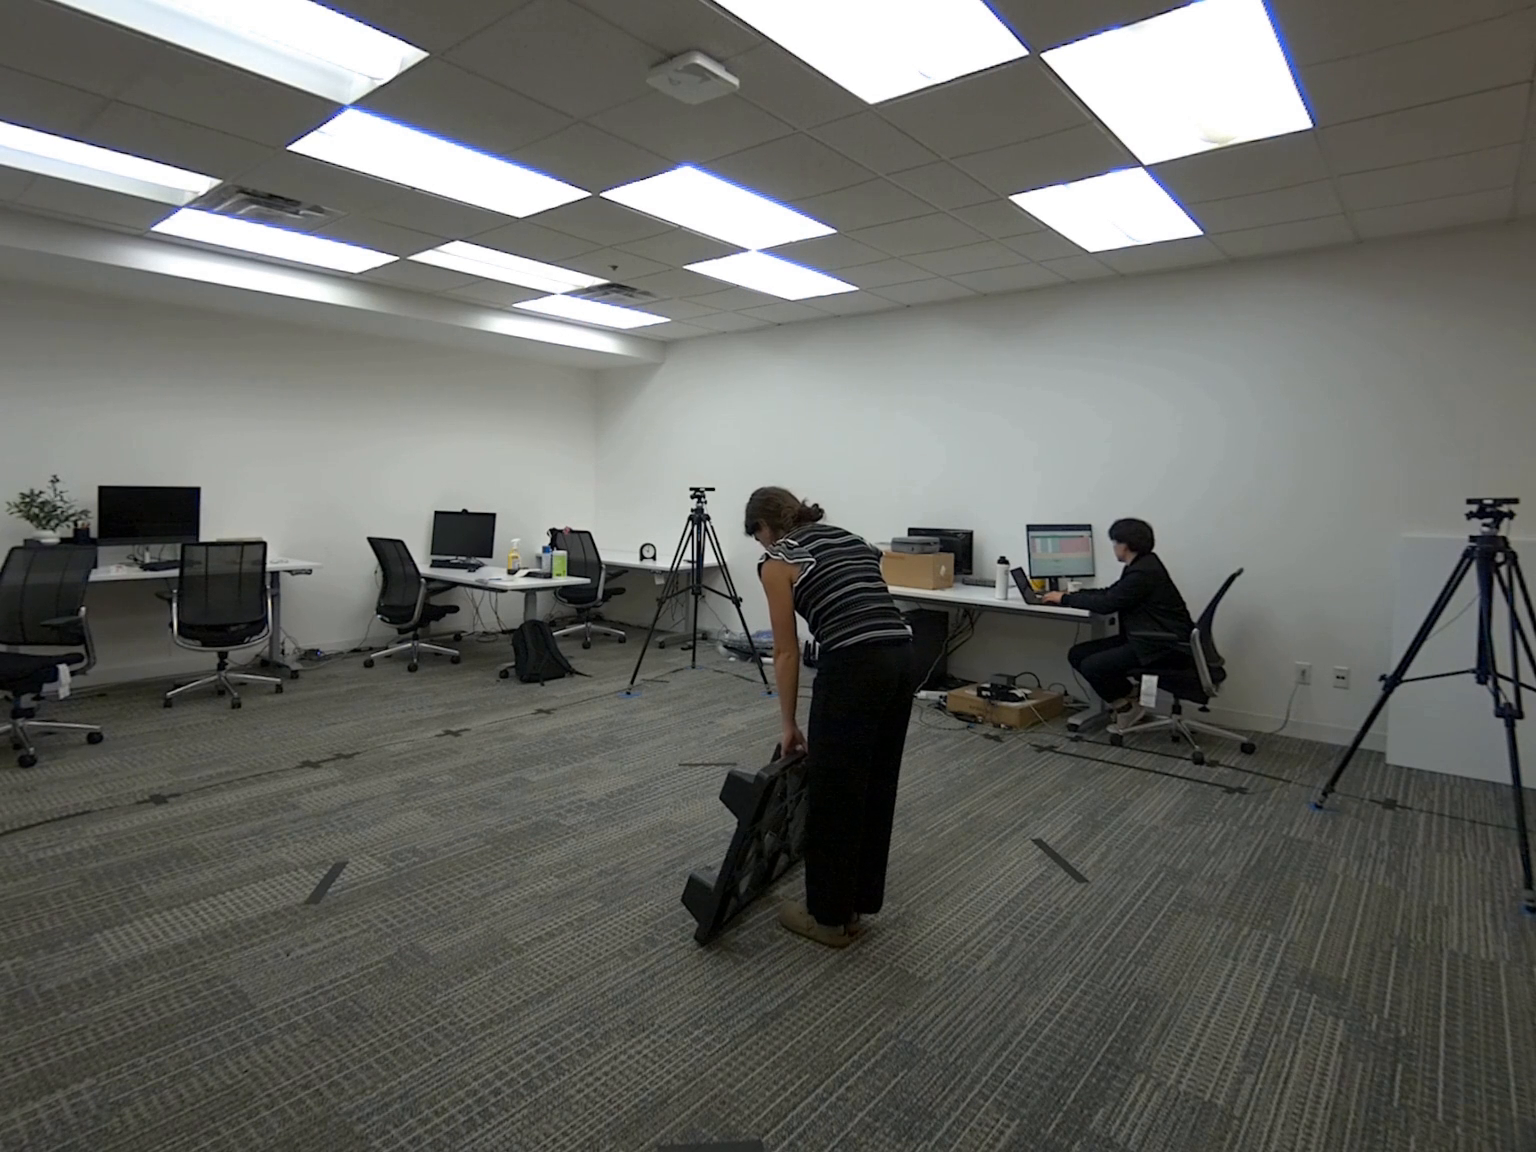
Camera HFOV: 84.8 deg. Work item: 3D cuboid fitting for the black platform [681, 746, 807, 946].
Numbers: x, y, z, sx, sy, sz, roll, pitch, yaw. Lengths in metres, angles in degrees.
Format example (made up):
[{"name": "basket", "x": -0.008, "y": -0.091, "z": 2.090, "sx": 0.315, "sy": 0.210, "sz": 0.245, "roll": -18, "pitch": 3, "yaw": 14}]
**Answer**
[{"name": "black platform", "x": 0.012, "y": 0.786, "z": 2.868, "sx": 0.148, "sy": 0.601, "sz": 0.786, "roll": 25, "pitch": 14, "yaw": 24}]
